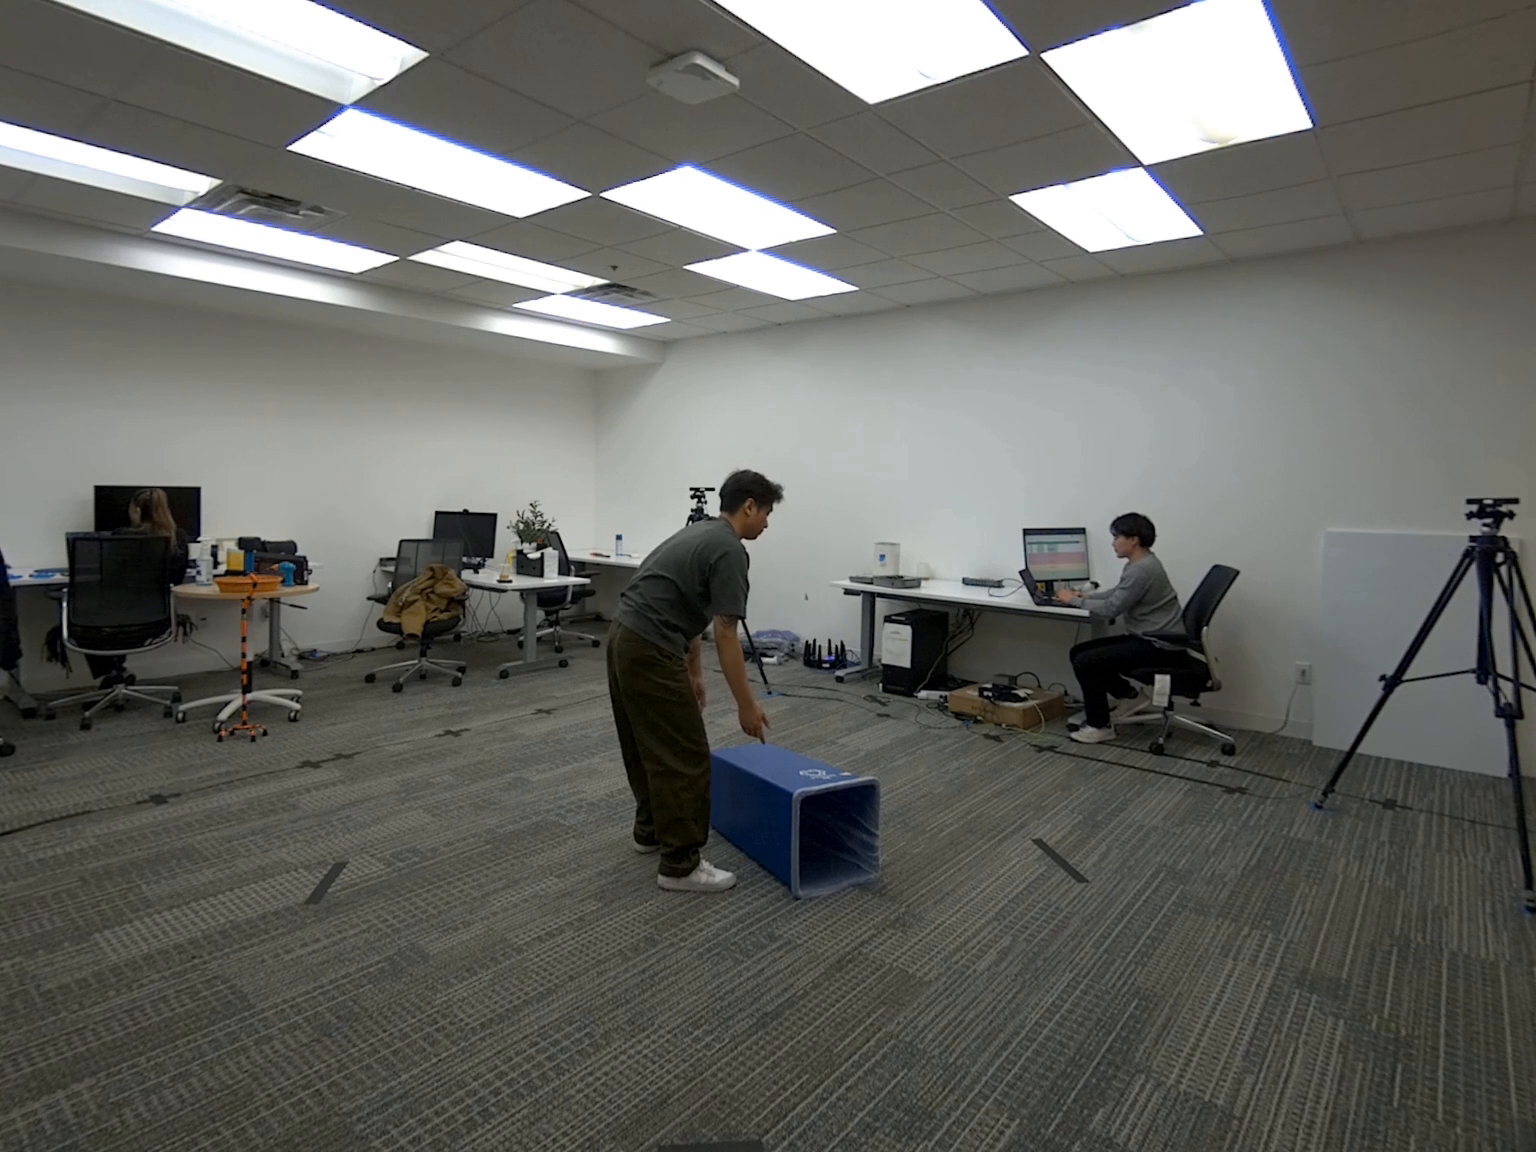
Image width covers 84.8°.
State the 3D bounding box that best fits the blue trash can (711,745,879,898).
[{"bbox_3d":[0.055,0.891,3.273,0.368,0.373,0.734,-2,3,-31],"label":"blue trash can"}]
